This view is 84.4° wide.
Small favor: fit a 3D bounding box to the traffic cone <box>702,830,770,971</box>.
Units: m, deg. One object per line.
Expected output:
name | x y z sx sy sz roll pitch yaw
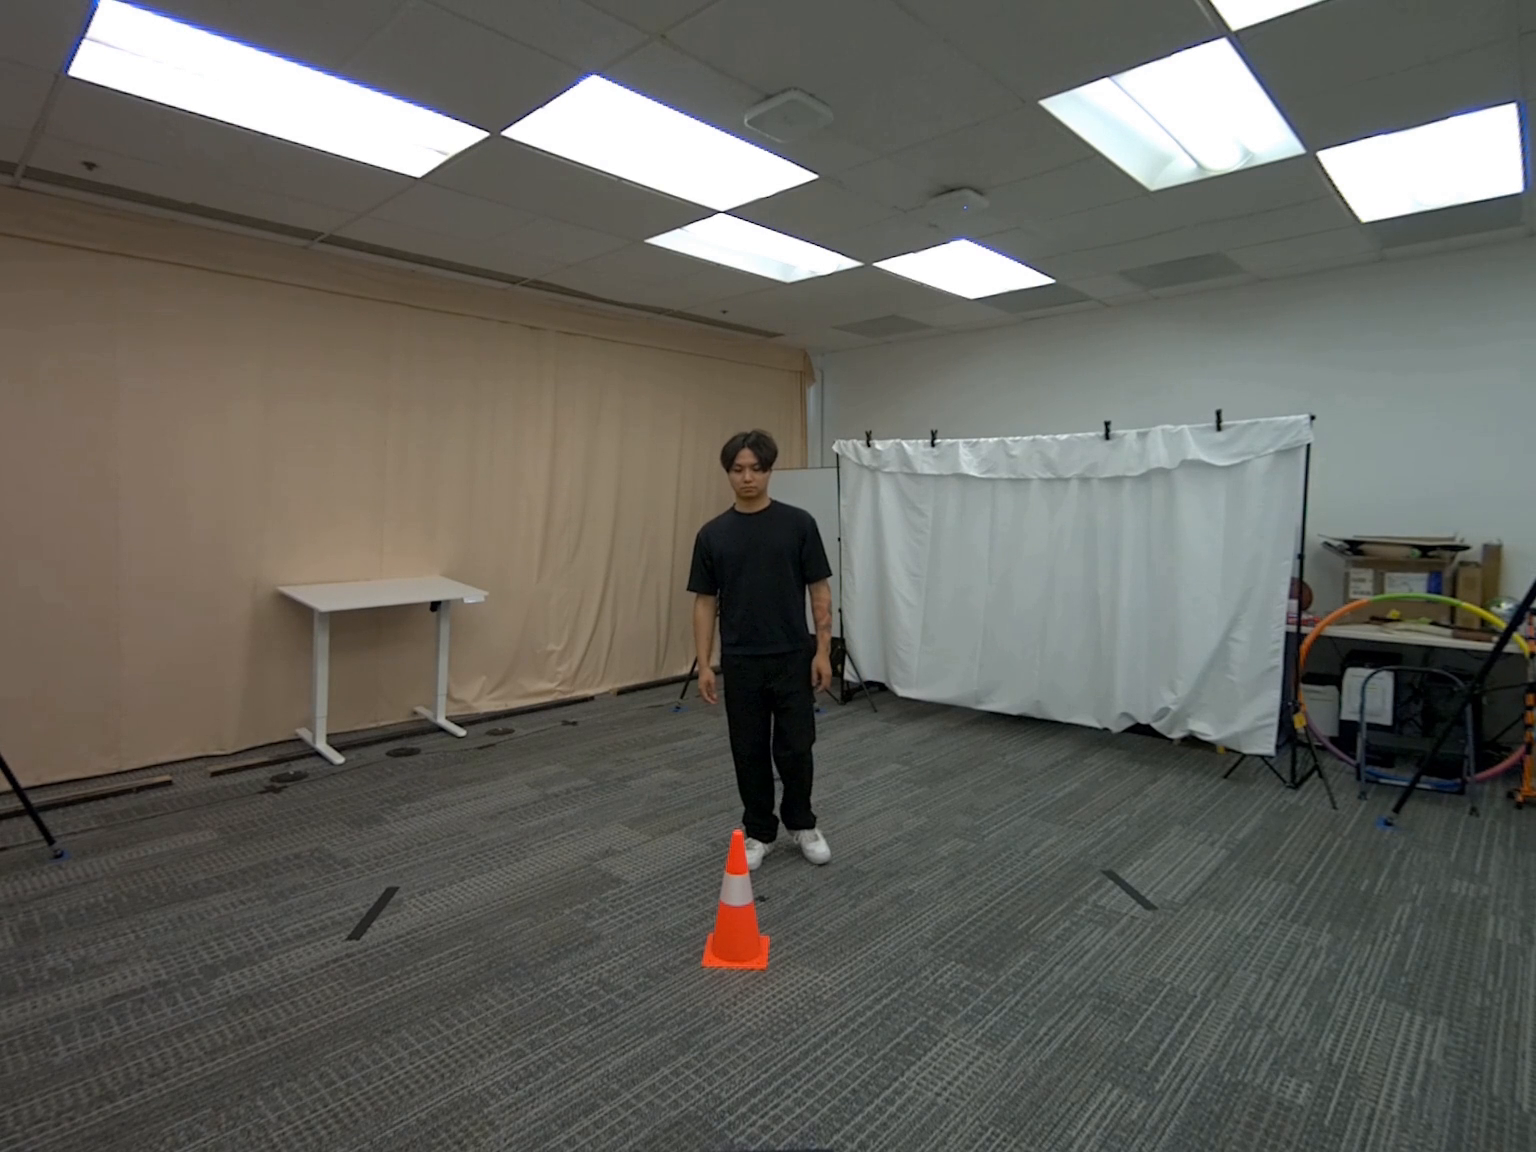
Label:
traffic cone | -0.111 0.981 2.633 0.207 0.383 0.202 -1 2 7
